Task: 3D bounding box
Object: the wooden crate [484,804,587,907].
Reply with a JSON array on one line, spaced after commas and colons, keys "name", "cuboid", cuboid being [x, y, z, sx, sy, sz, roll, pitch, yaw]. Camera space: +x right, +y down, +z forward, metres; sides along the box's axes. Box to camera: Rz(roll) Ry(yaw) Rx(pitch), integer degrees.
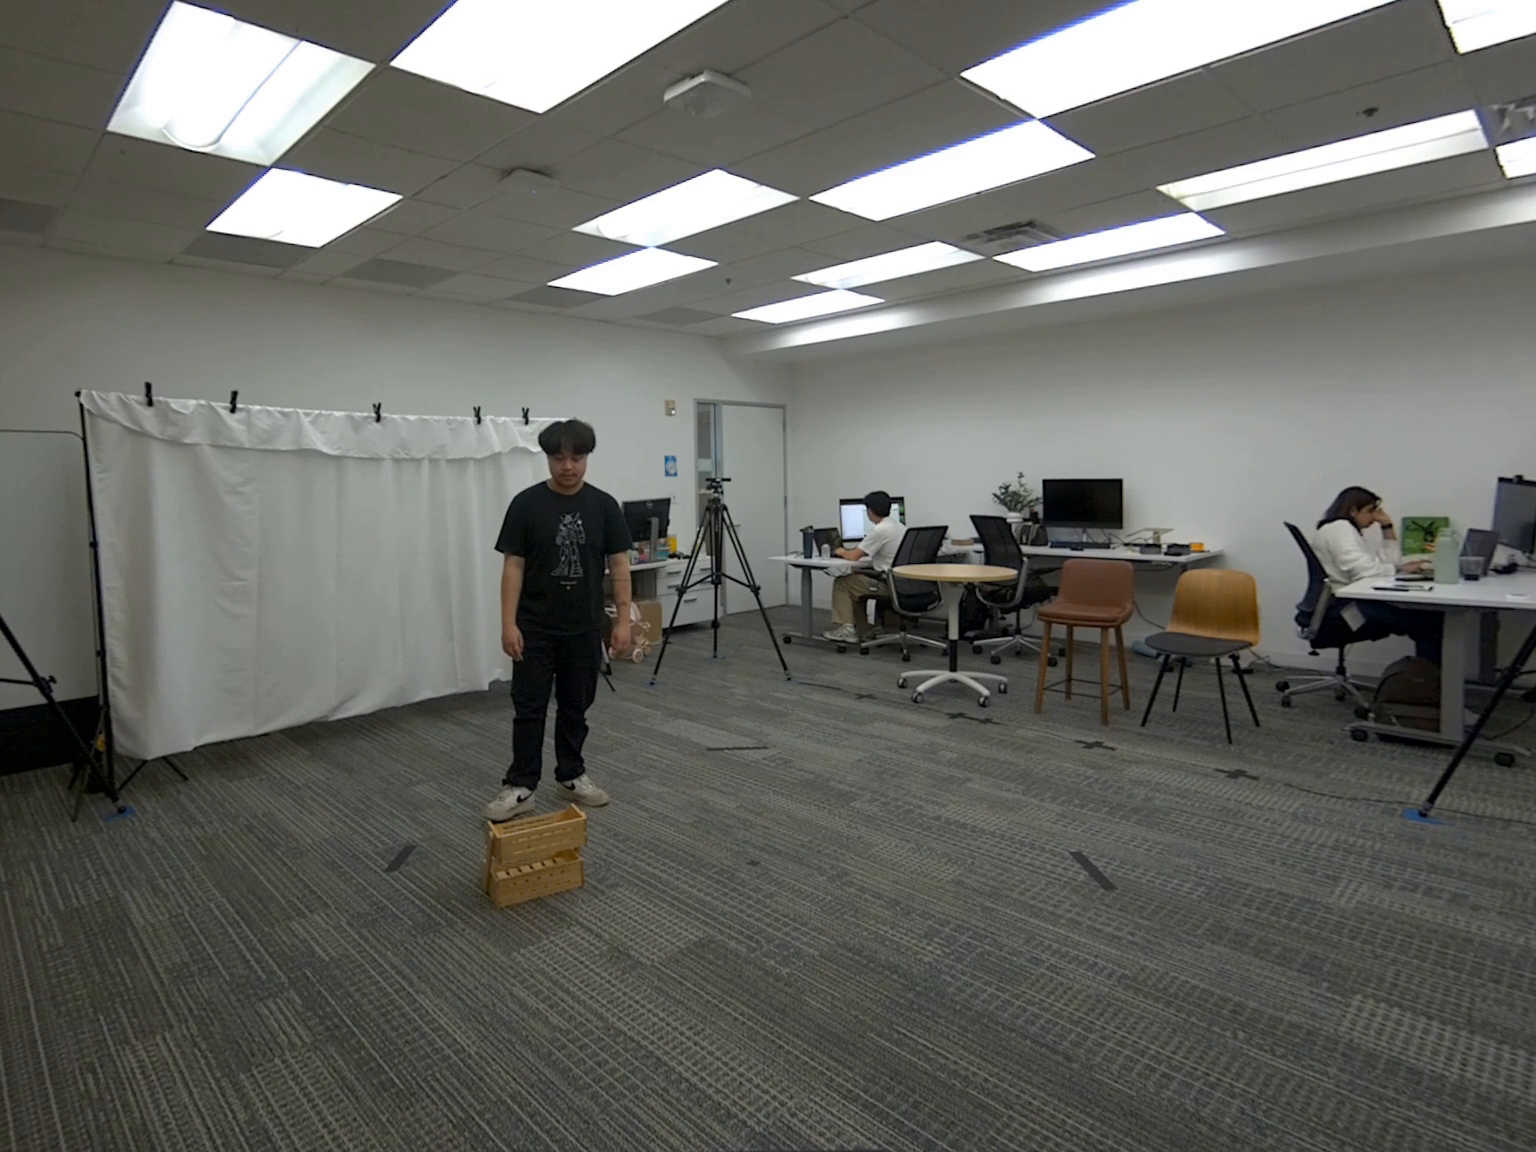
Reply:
[{"name": "wooden crate", "cuboid": [-0.816, 0.943, 2.960, 0.317, 0.272, 0.311, -5, 7, -31]}]
